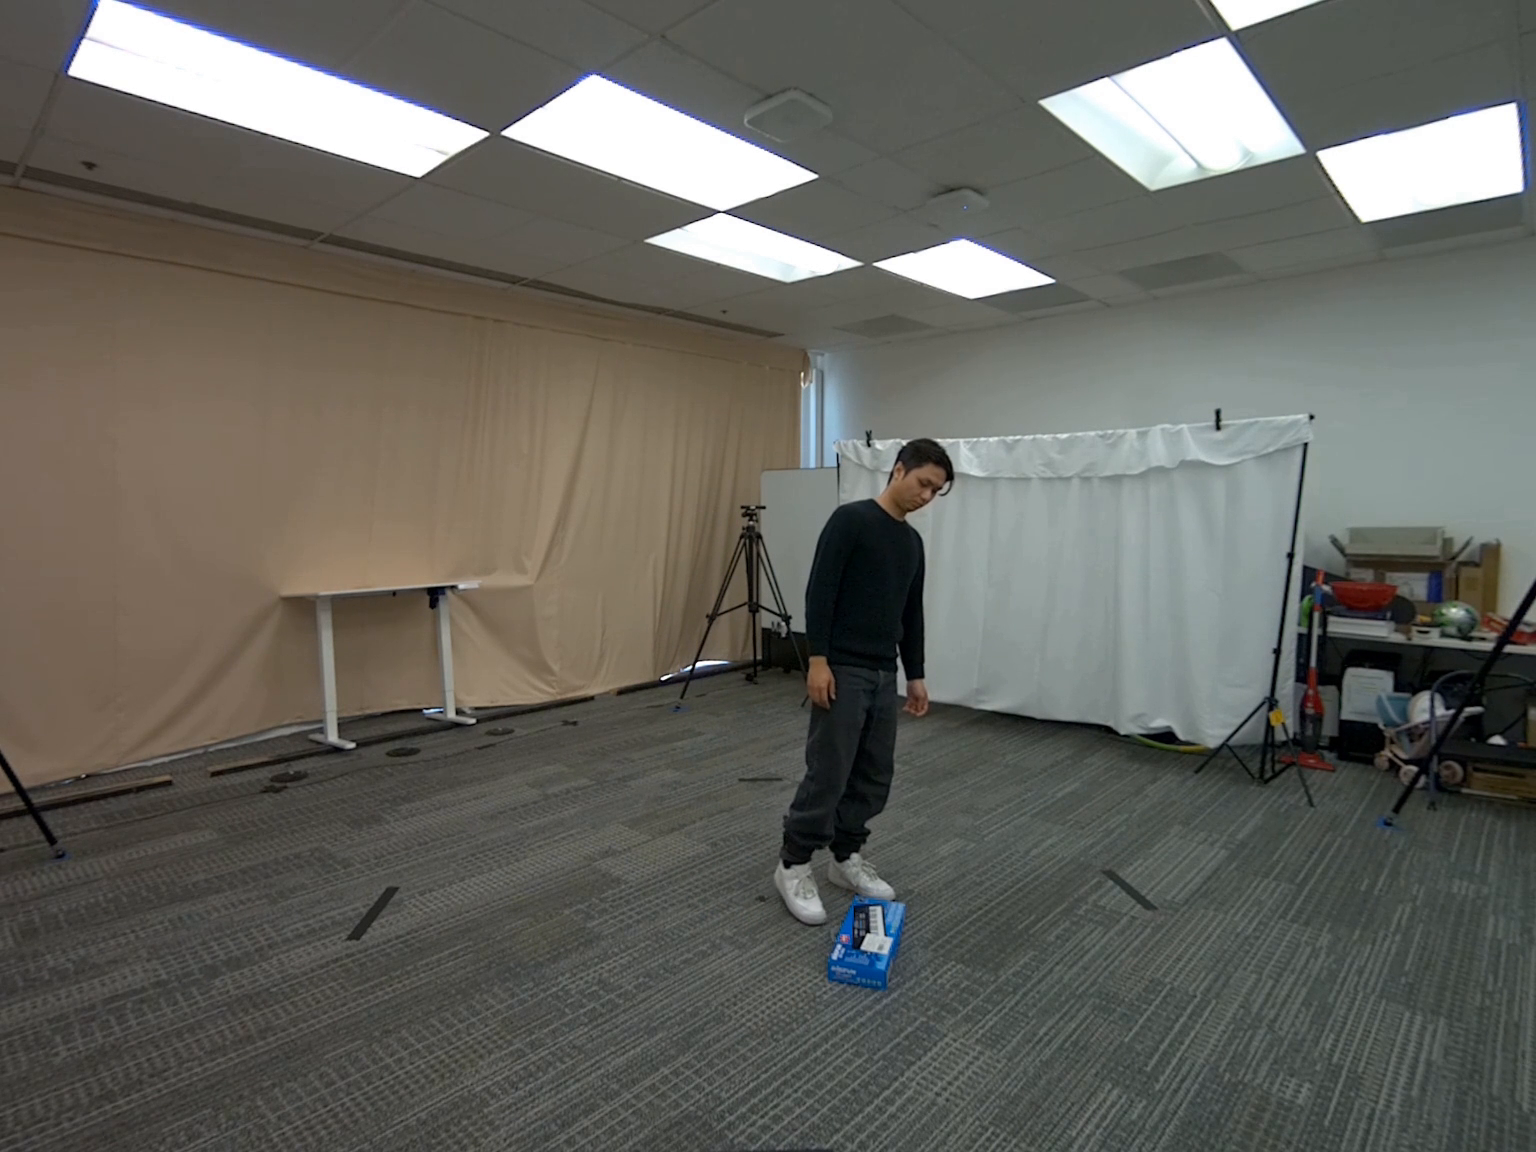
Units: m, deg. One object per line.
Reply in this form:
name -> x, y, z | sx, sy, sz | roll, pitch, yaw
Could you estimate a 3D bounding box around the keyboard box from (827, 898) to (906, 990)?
keyboard box -> 0.318, 1.134, 2.647 | 0.179, 0.059, 0.429 | 1, 5, 17
